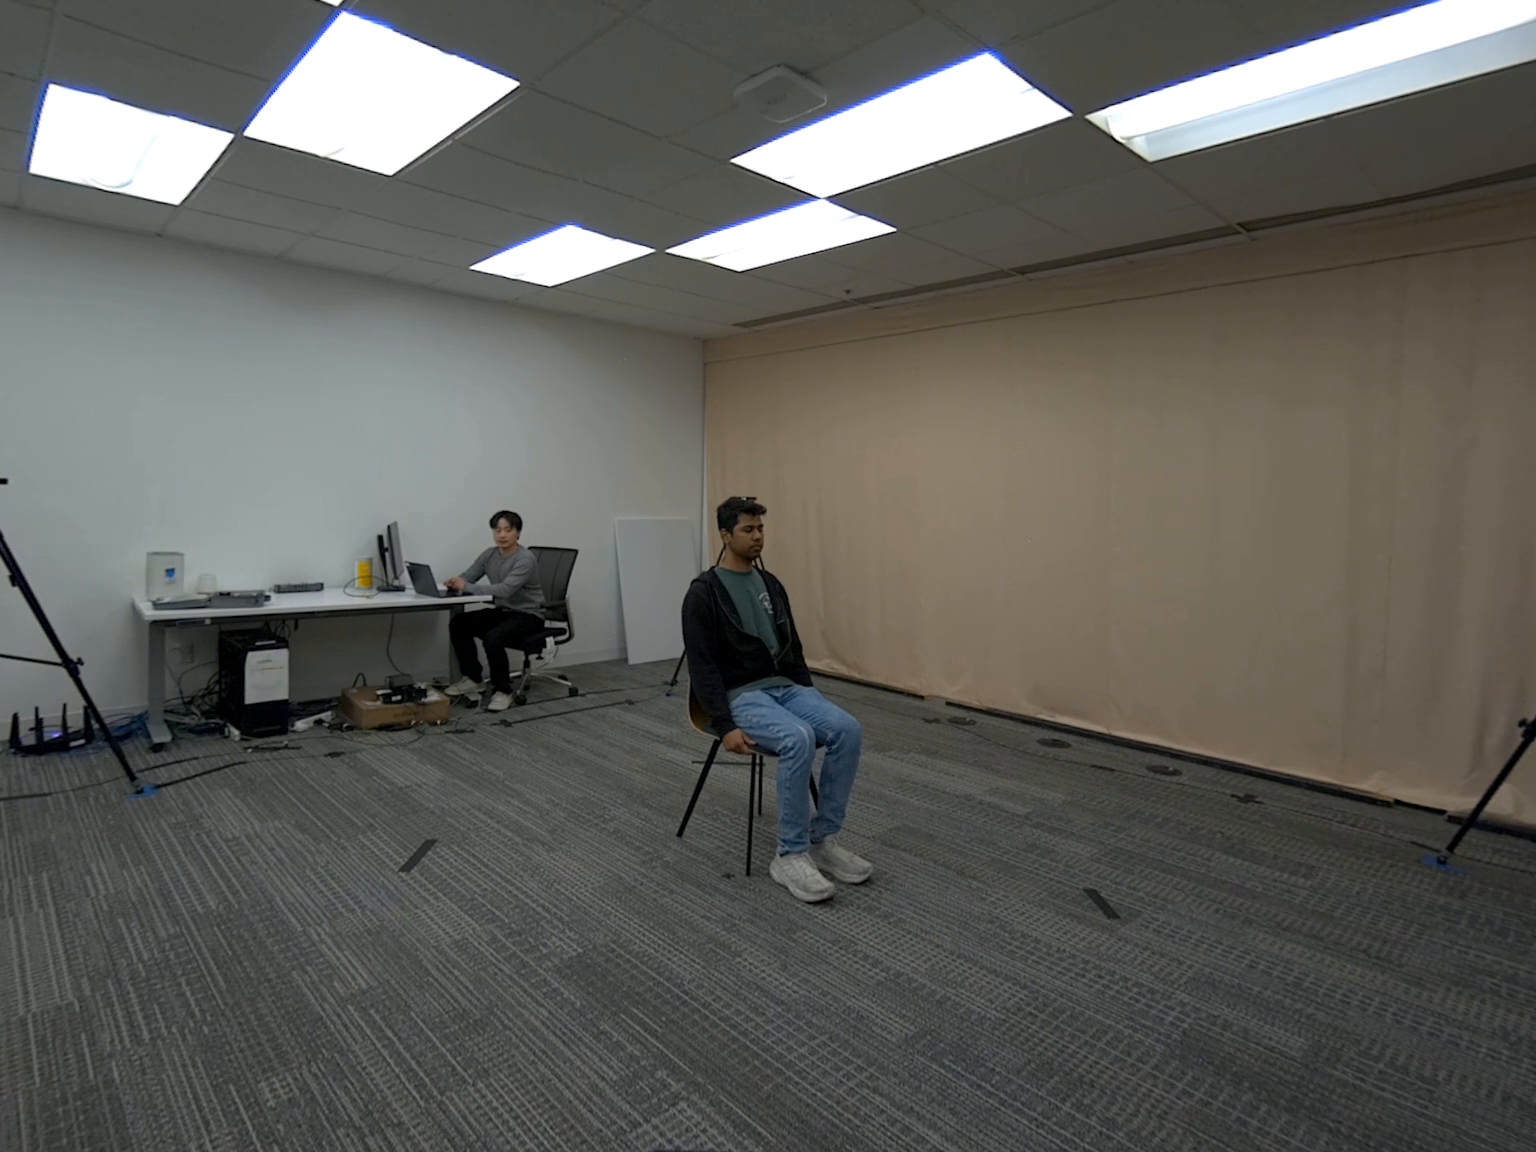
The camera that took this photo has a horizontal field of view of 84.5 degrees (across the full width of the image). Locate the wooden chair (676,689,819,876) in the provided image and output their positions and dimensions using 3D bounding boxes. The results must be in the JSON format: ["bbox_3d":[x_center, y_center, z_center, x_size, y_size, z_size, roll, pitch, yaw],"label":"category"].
[{"bbox_3d":[-0.041,0.654,3.384,0.467,0.878,0.535,-1,-1,-40],"label":"wooden chair"}]
